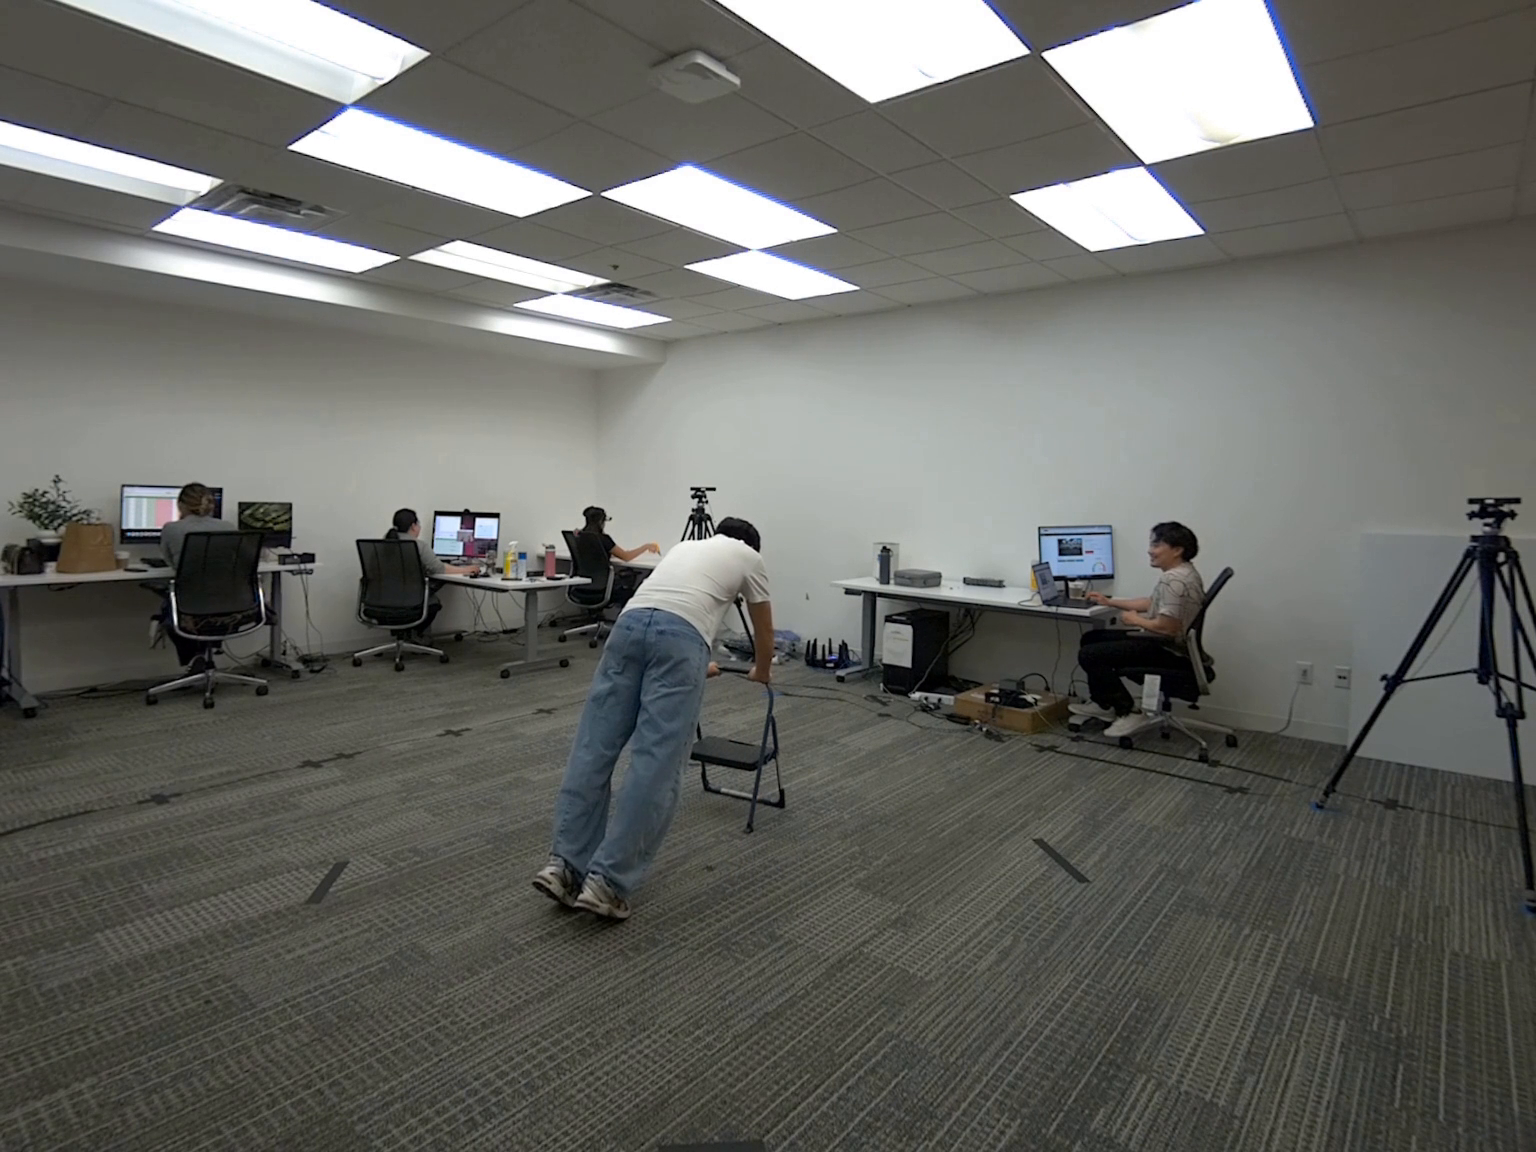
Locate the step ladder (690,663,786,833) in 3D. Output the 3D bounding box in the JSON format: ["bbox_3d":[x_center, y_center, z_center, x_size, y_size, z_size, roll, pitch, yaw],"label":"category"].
[{"bbox_3d":[-0.182,0.707,3.677,0.443,0.605,0.340,3,3,28],"label":"step ladder"}]
